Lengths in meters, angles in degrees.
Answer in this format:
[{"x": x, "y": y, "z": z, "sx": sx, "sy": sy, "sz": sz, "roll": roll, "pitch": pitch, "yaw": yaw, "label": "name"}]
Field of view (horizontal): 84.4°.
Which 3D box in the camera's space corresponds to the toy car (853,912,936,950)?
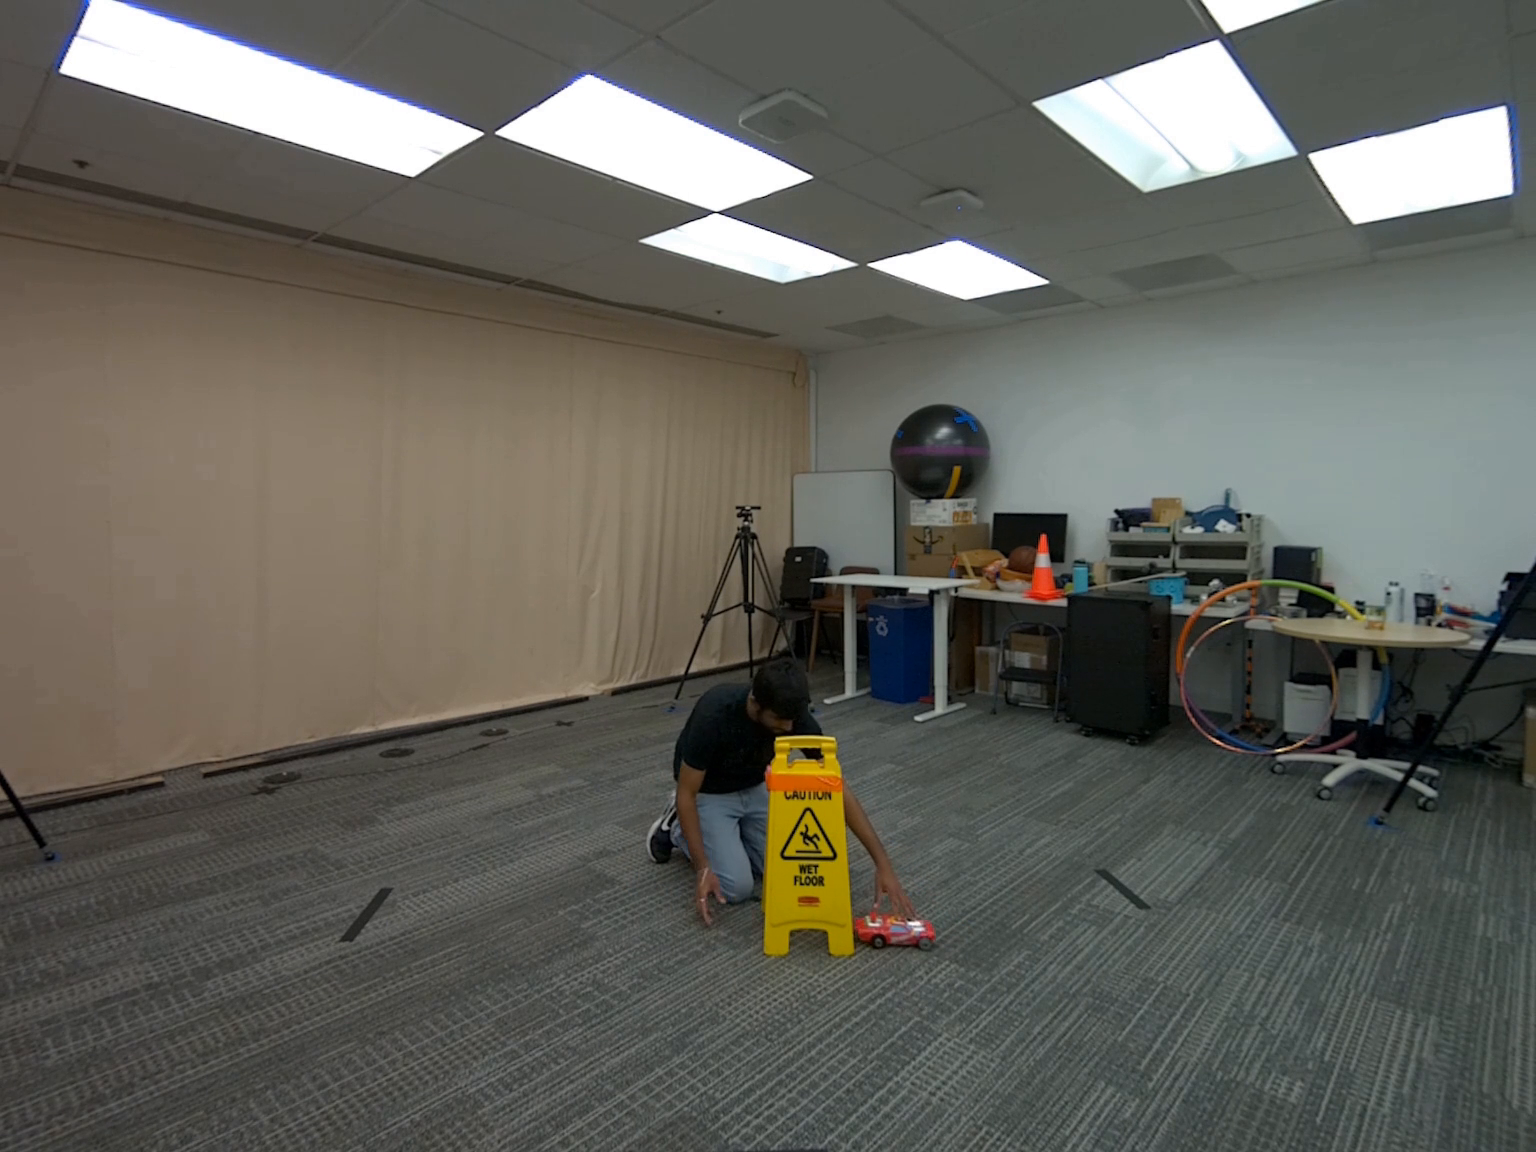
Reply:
[{"x": 0.372, "y": 1.136, "z": 2.690, "sx": 0.256, "sy": 0.083, "sz": 0.130, "roll": 11, "pitch": 6, "yaw": 4, "label": "toy car"}]
